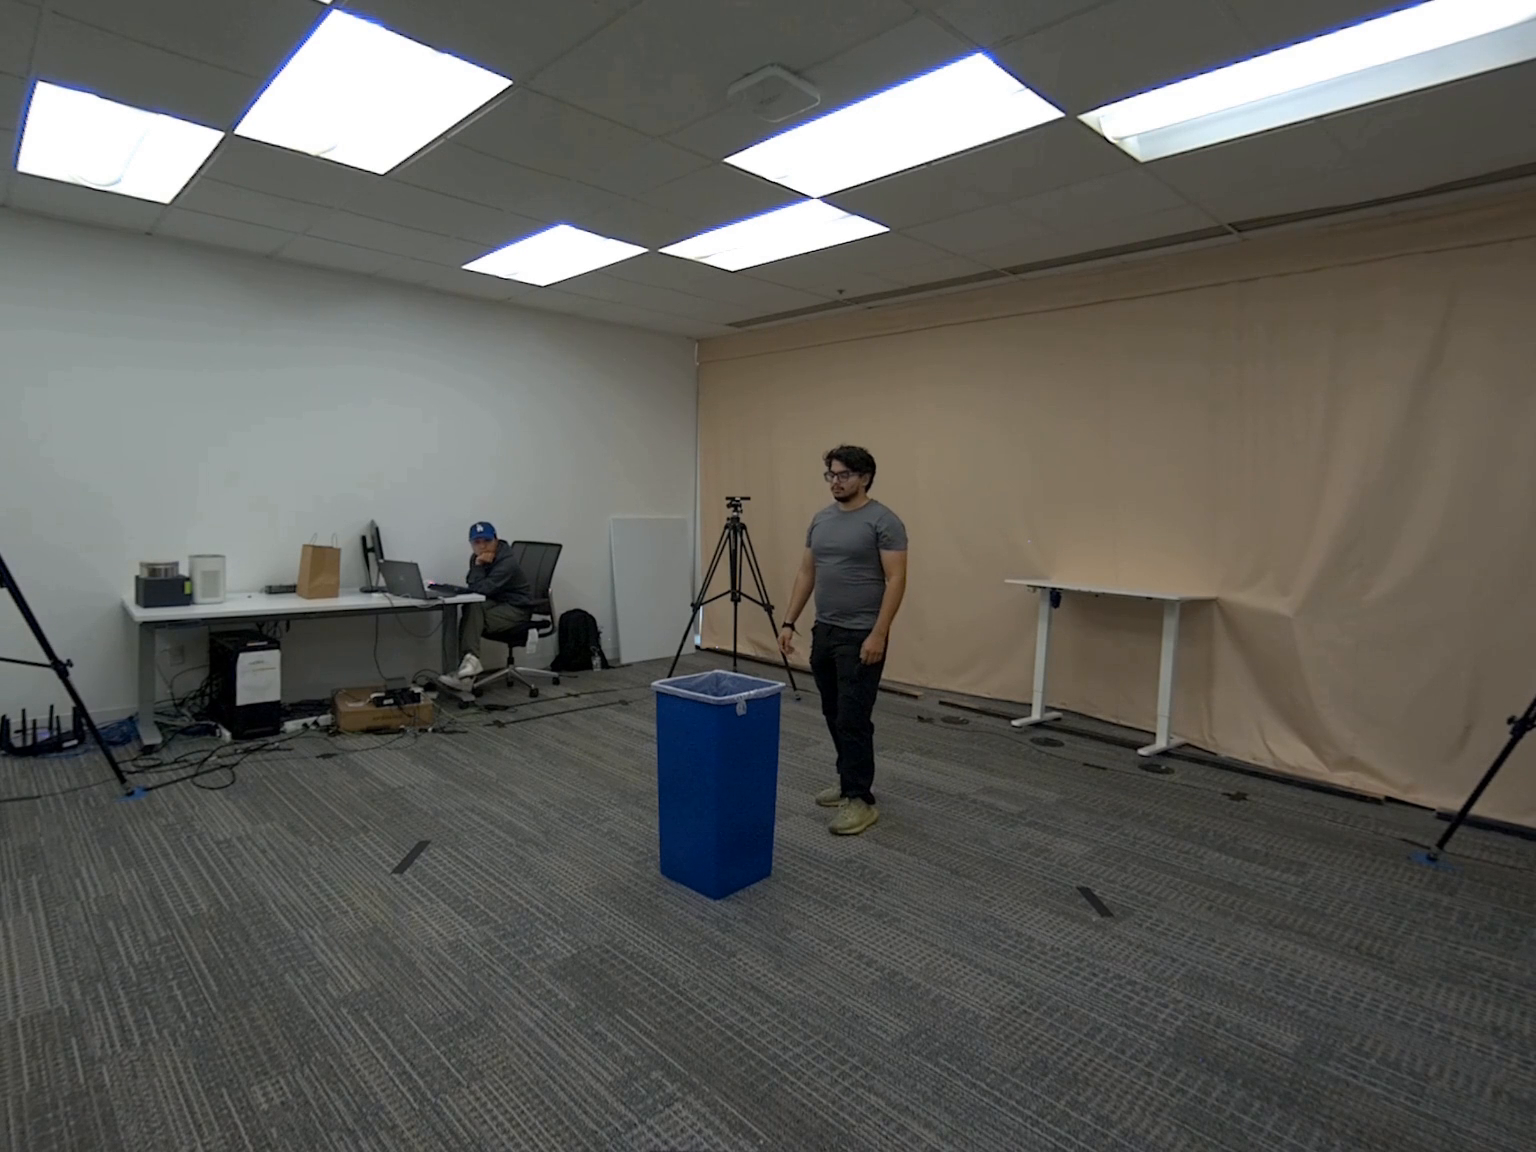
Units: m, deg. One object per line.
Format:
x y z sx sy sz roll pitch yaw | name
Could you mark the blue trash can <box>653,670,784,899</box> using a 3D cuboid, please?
-0.200 0.747 3.101 0.383 0.712 0.369 4 4 42 | blue trash can
